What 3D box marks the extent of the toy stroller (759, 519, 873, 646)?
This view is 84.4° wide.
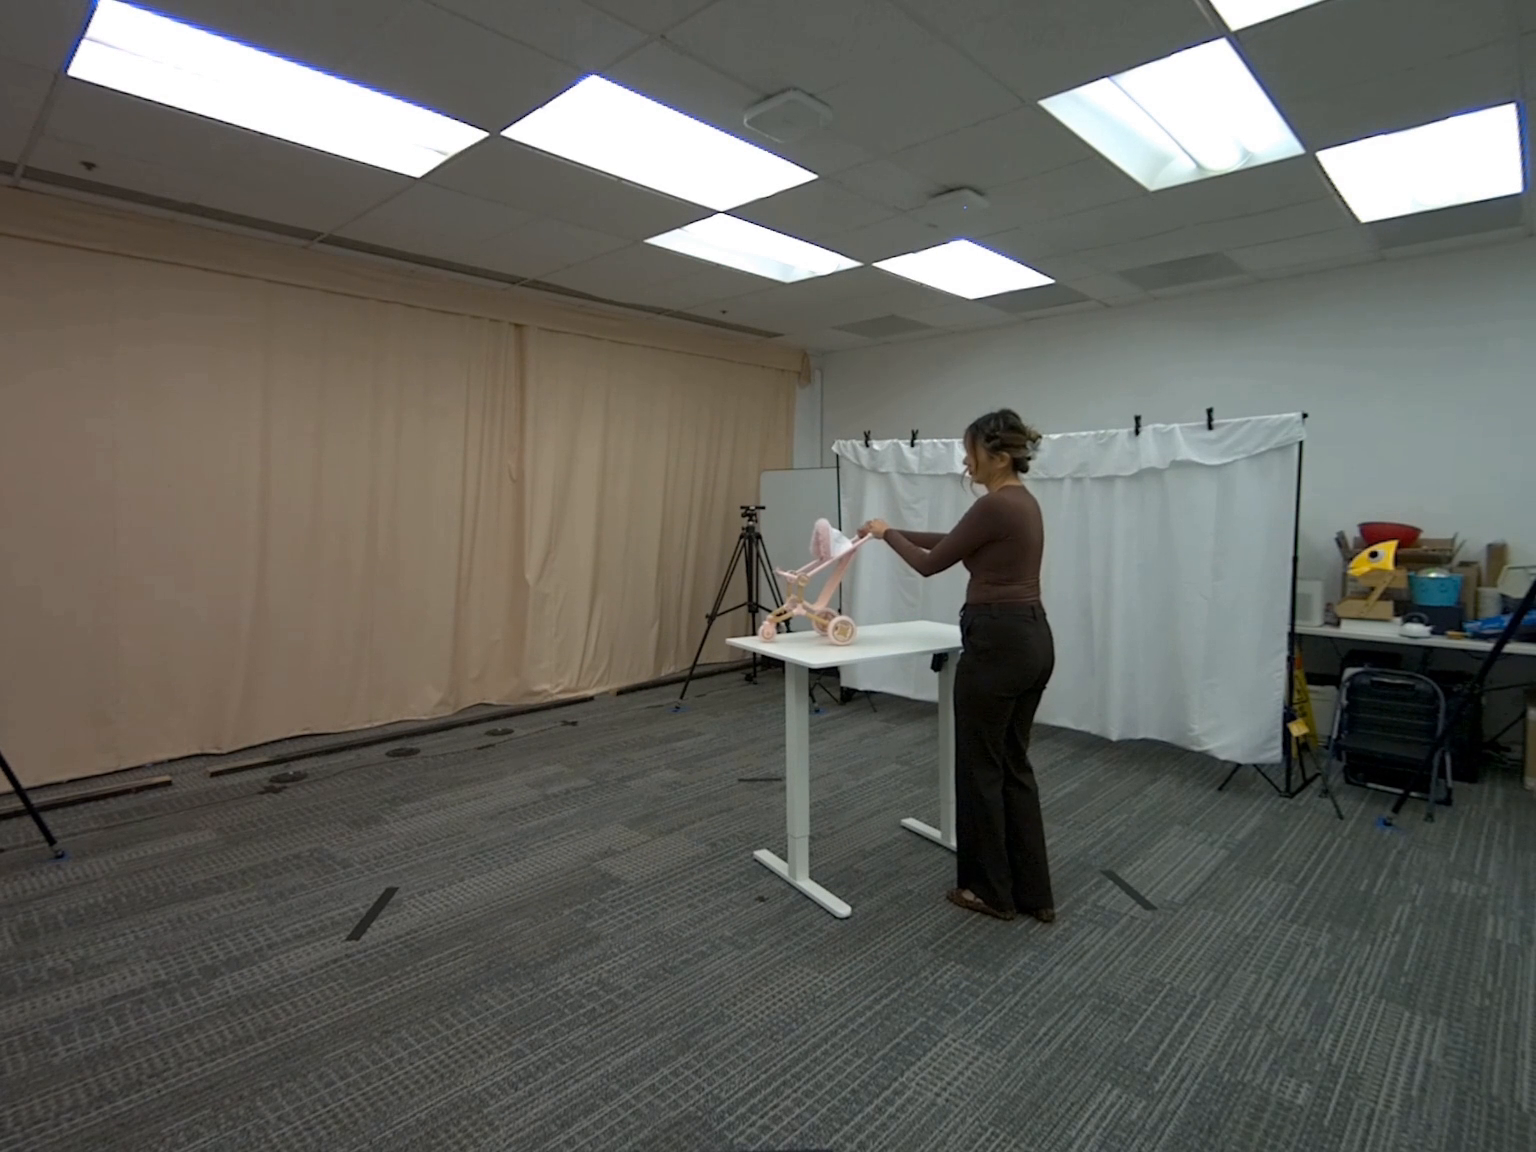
[{"bbox_3d":[0.191,0.026,3.183,0.340,0.535,0.282,15,1,-4],"label":"toy stroller"}]
